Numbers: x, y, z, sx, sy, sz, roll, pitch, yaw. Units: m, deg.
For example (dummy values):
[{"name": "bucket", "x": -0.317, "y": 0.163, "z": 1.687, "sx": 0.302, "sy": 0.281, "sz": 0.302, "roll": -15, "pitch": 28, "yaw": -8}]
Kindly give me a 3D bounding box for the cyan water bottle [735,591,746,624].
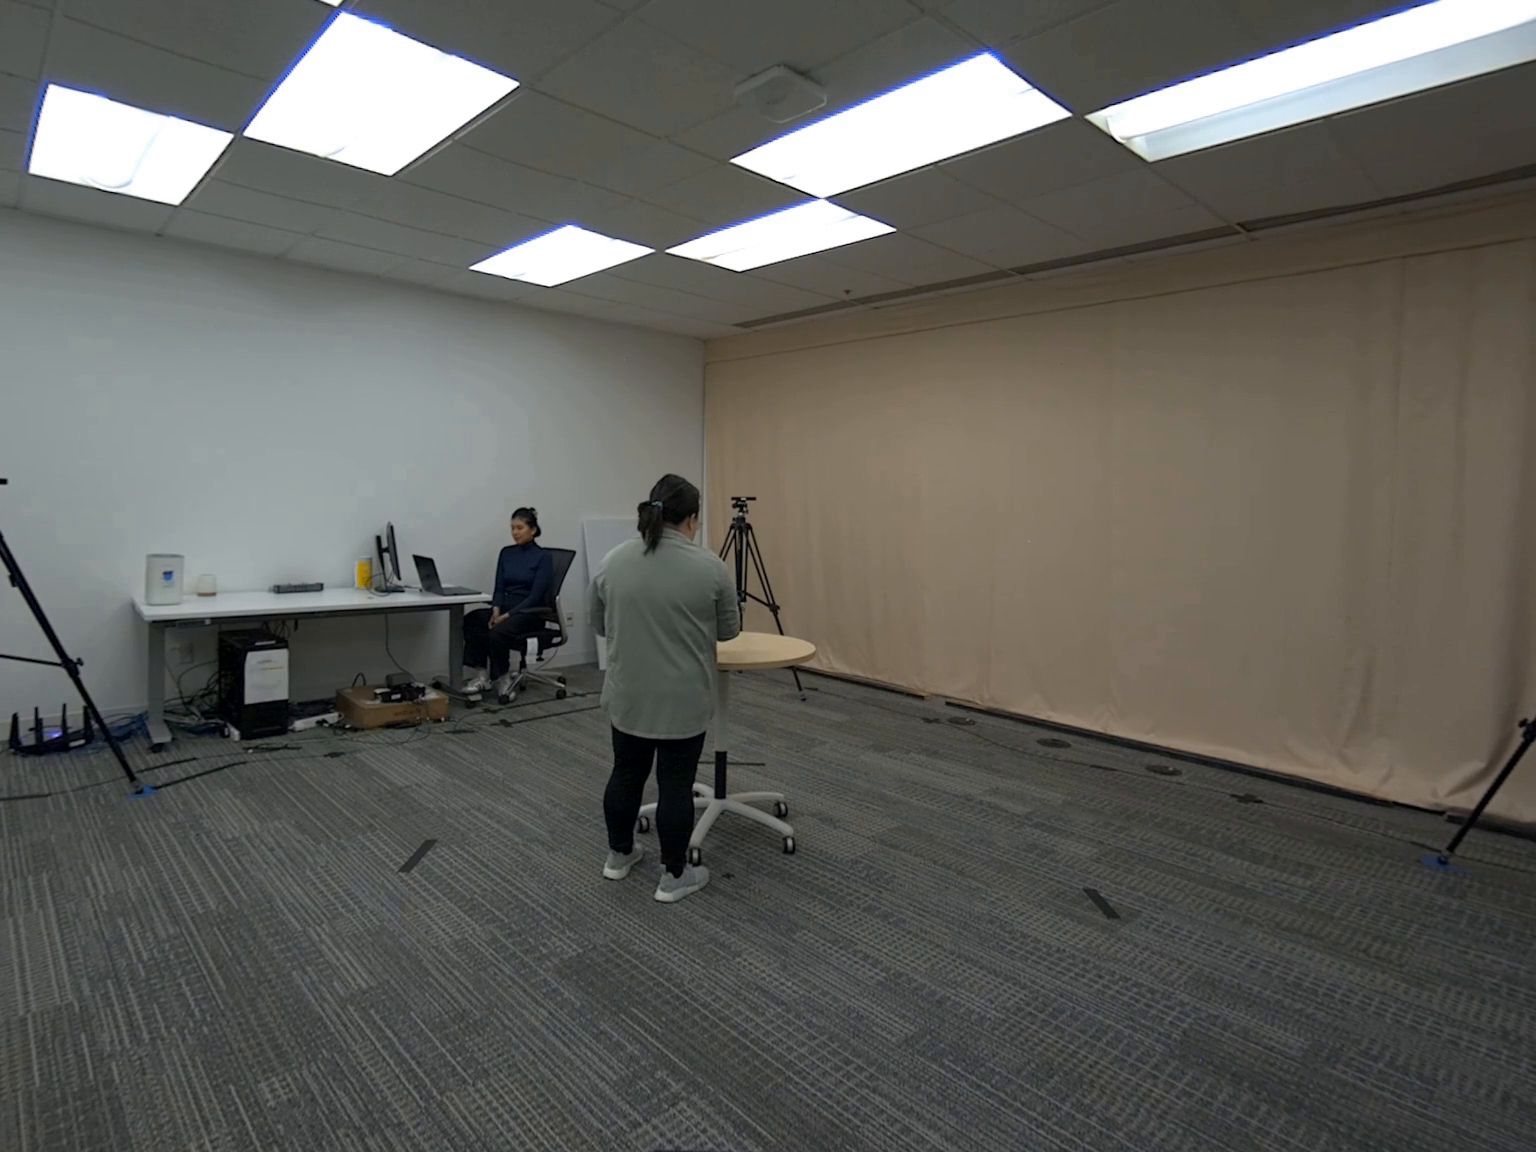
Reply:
[{"name": "cyan water bottle", "x": -0.230, "y": 0.141, "z": 3.300, "sx": 0.282, "sy": 0.092, "sz": 0.093, "roll": -14, "pitch": 7, "yaw": -9}]
